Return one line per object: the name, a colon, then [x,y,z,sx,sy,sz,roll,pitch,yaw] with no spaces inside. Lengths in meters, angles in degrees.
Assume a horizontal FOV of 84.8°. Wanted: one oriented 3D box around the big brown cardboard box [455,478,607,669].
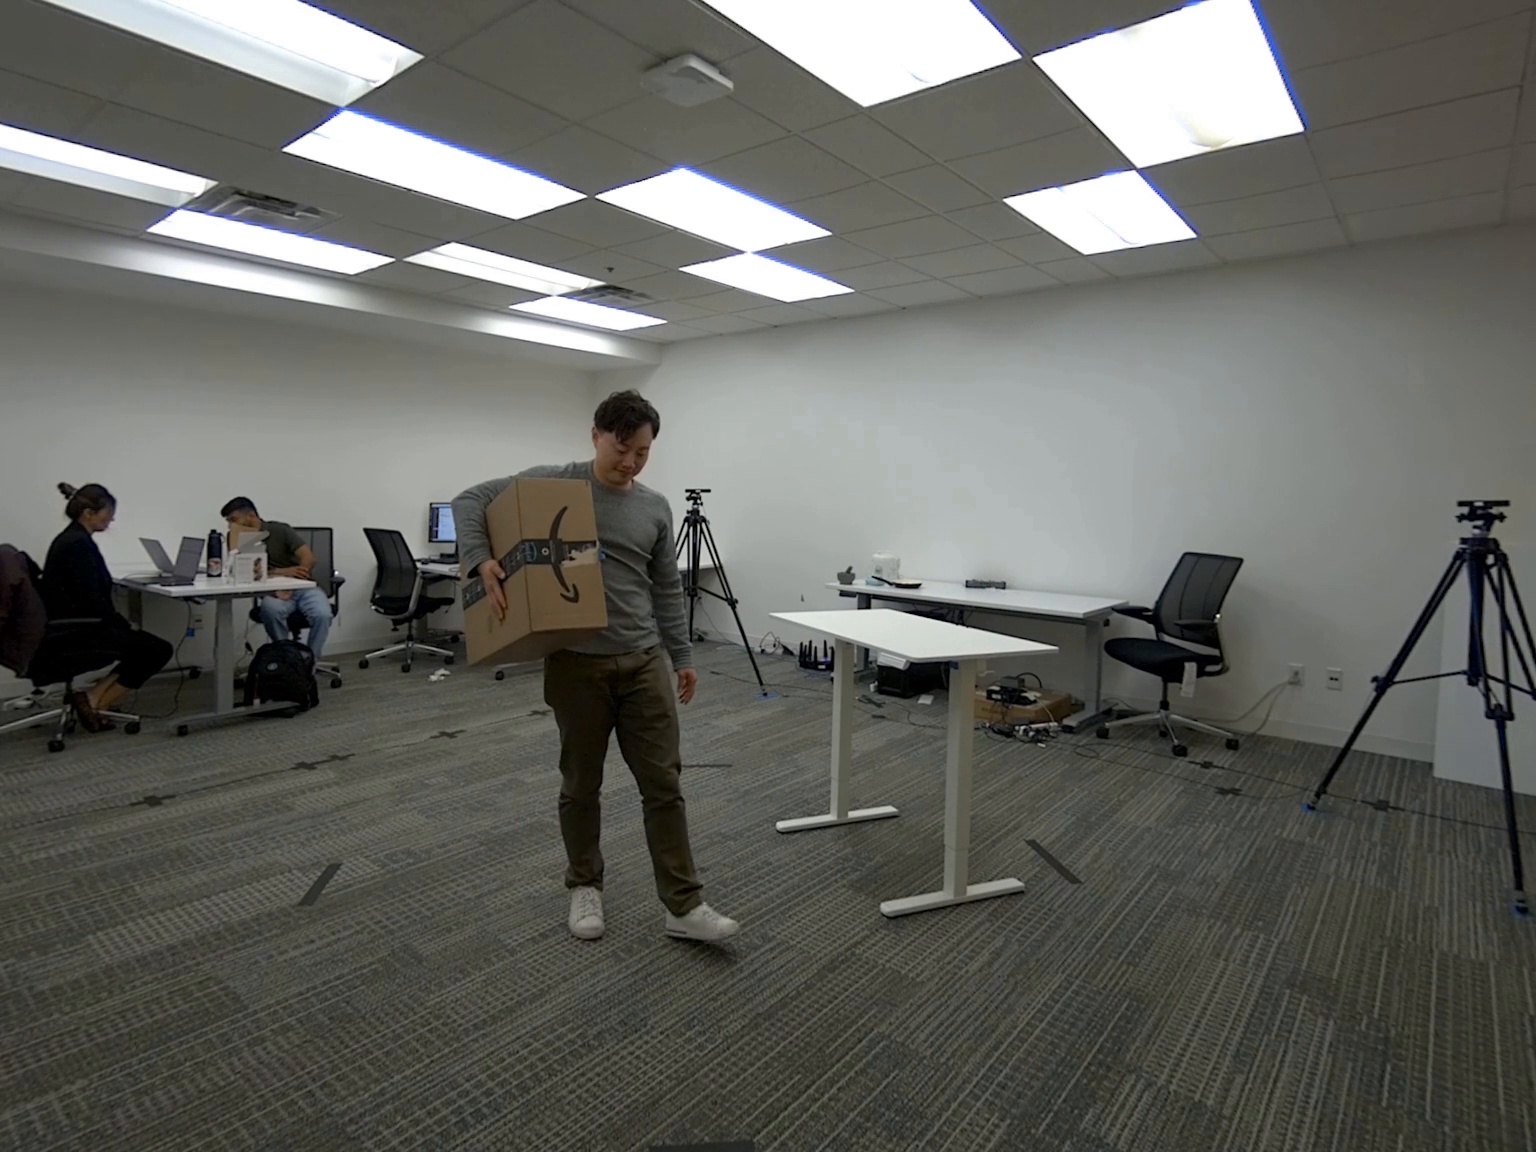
big brown cardboard box: [-0.714,0.009,2.467,0.226,0.424,0.597,-1,-14,-33]
